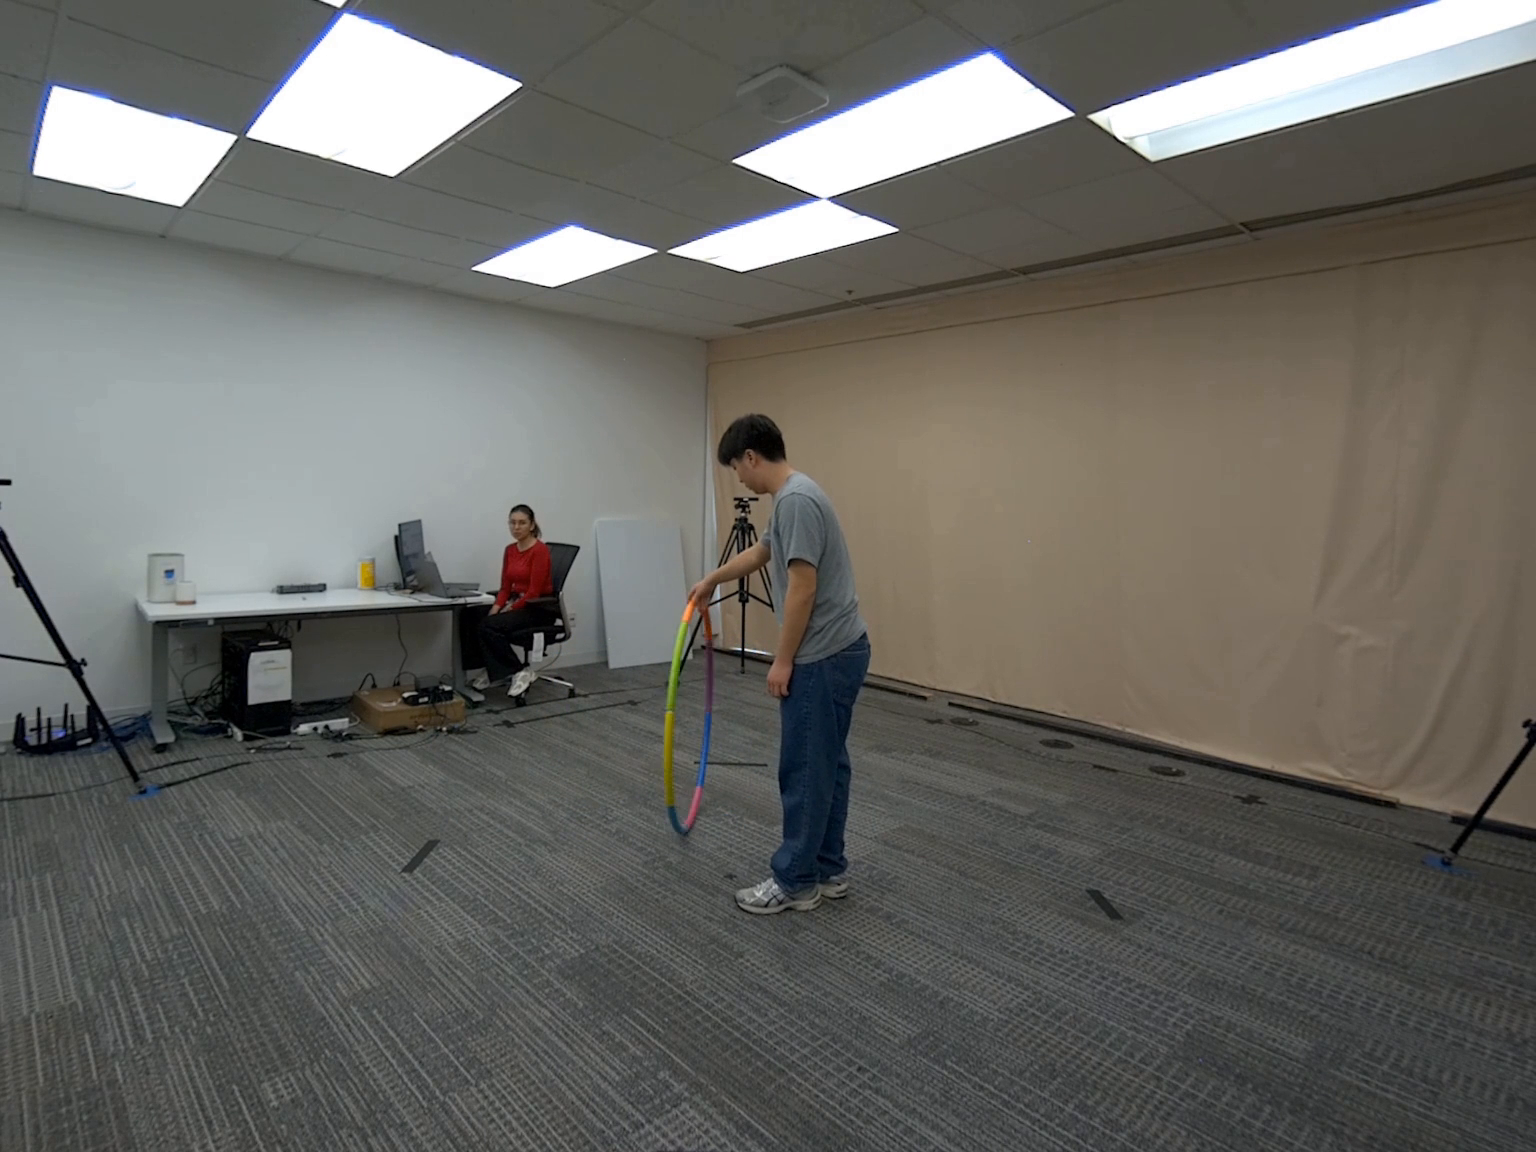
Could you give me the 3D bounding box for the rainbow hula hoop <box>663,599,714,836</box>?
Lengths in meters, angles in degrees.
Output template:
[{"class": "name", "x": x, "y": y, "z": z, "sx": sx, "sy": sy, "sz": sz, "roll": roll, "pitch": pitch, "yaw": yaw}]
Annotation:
[{"class": "rainbow hula hoop", "x": -0.331, "y": 0.573, "z": 3.562, "sx": 0.036, "sy": 0.976, "sz": 0.977, "roll": 2, "pitch": 4, "yaw": 4}]
